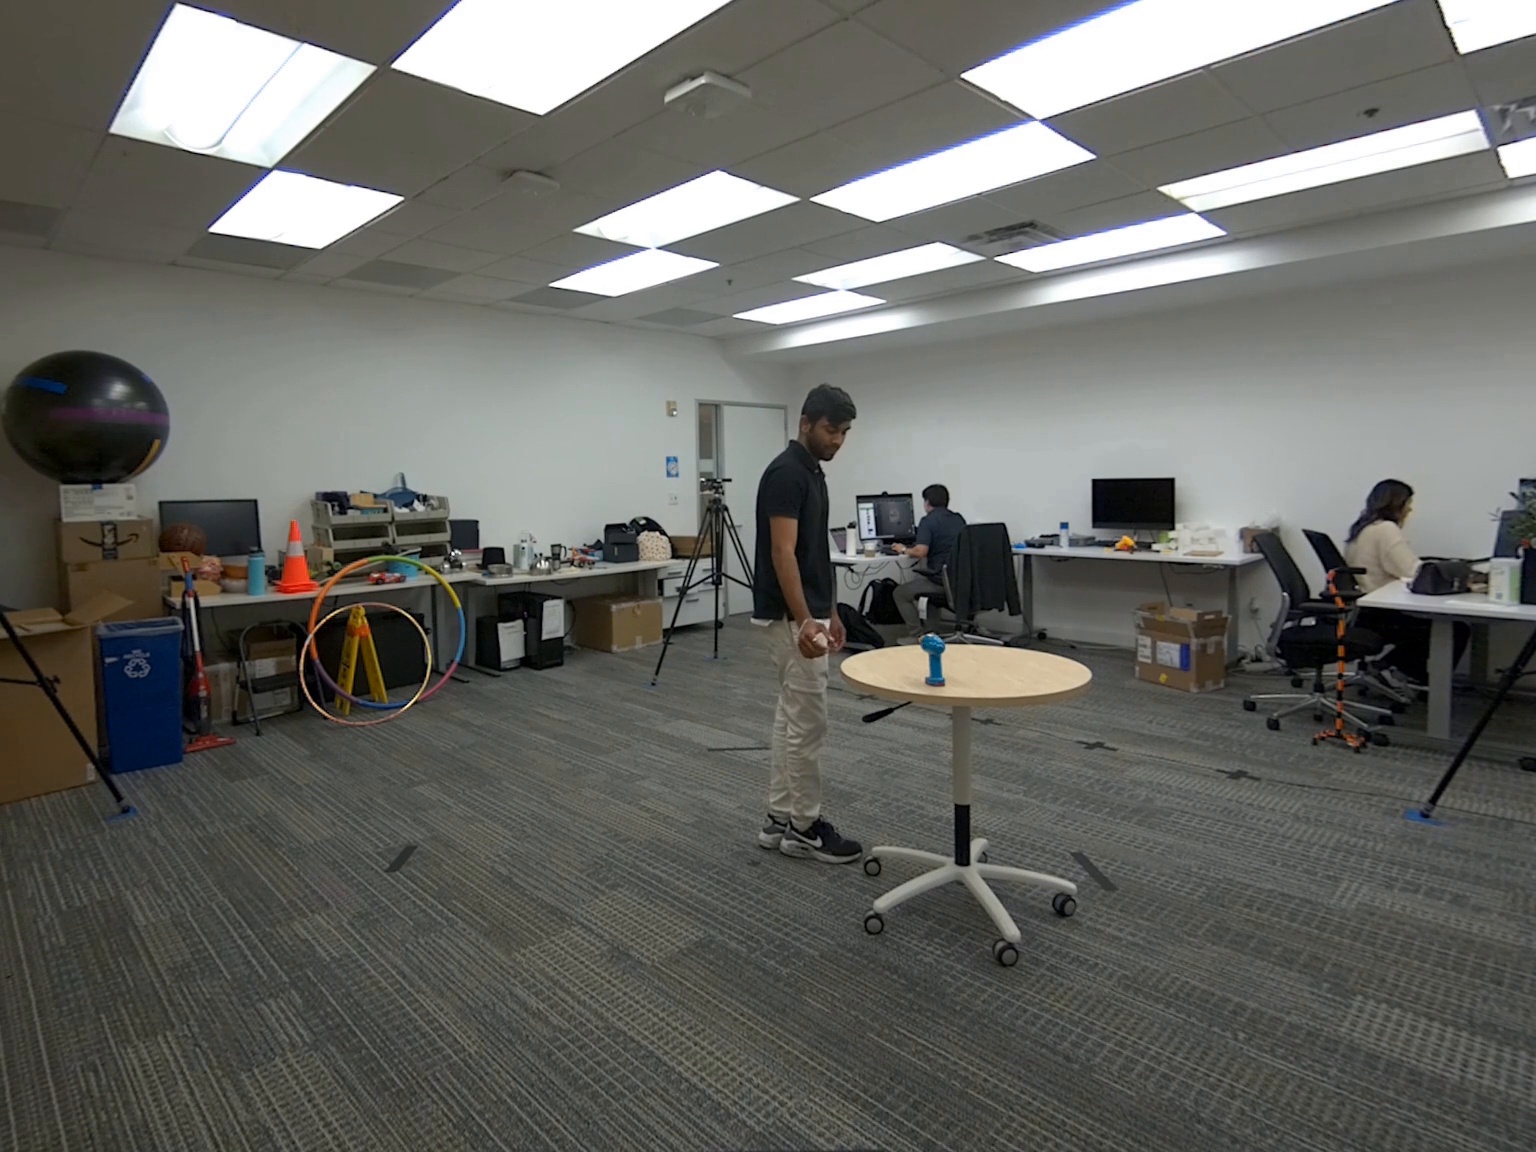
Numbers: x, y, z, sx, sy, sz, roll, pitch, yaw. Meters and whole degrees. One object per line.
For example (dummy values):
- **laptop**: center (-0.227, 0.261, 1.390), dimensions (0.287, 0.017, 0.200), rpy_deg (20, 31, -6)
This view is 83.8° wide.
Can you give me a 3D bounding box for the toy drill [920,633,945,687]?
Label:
- **toy drill**: center (0.493, 0.241, 2.554), dimensions (0.061, 0.145, 0.171), rpy_deg (-2, 5, -8)
